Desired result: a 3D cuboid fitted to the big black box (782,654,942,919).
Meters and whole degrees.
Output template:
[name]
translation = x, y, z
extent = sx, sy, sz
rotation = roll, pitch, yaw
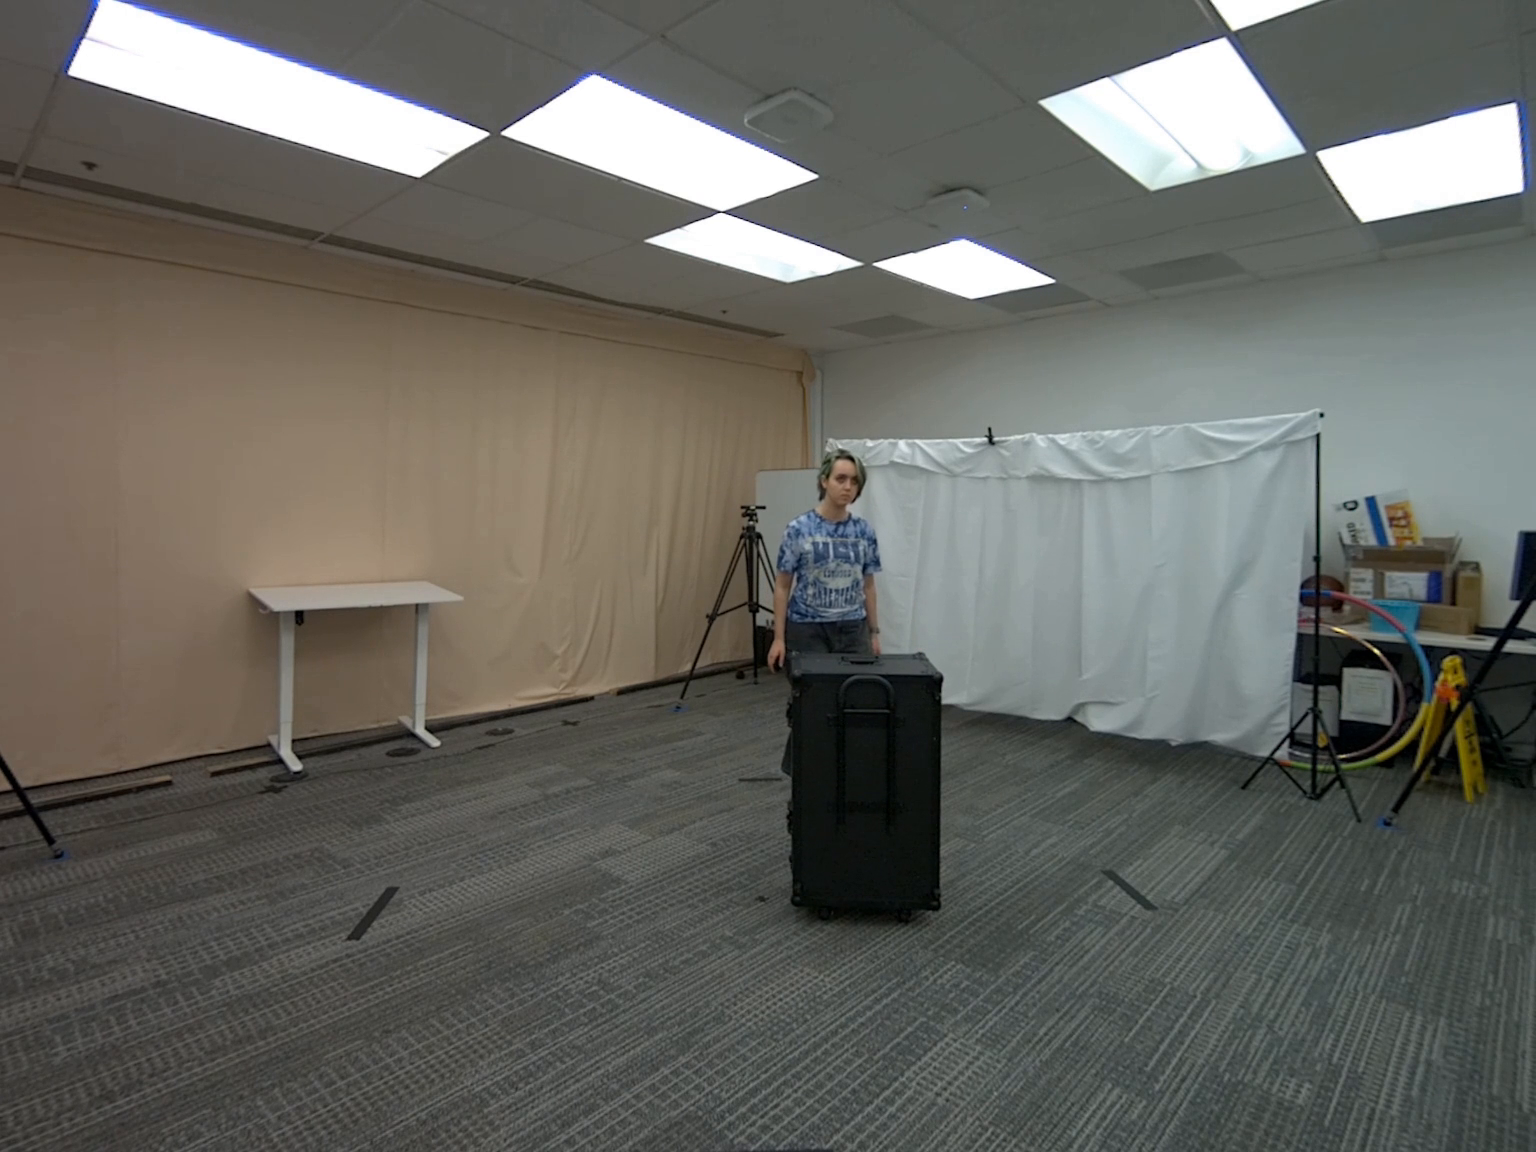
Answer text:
[big black box]
translation = 0.329, 0.722, 2.909
extent = 0.524, 0.859, 0.395
rotation = 0, 4, 4
